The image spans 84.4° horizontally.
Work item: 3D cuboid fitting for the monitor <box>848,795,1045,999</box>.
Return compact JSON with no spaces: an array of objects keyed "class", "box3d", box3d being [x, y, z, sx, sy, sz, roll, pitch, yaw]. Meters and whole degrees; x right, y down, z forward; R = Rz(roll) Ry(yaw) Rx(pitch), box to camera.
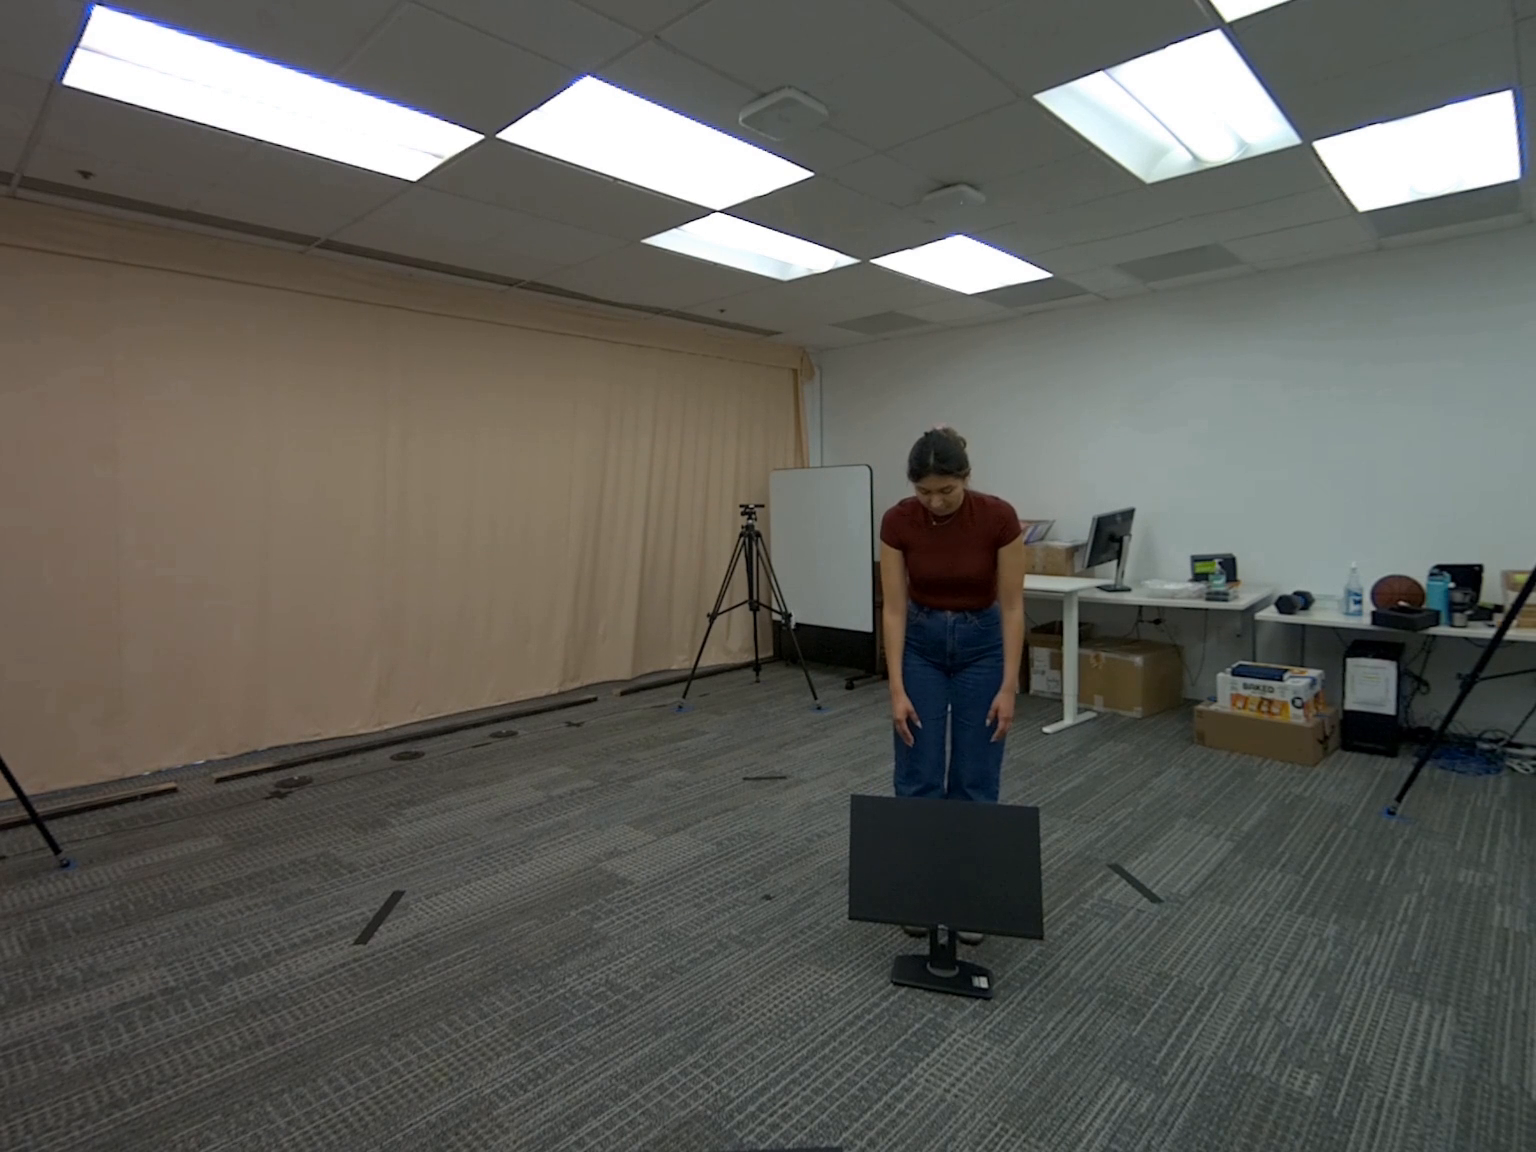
[{"class":"monitor","box3d":[0.509,0.921,2.463,0.547,0.522,0.184,0,0,13]}]
